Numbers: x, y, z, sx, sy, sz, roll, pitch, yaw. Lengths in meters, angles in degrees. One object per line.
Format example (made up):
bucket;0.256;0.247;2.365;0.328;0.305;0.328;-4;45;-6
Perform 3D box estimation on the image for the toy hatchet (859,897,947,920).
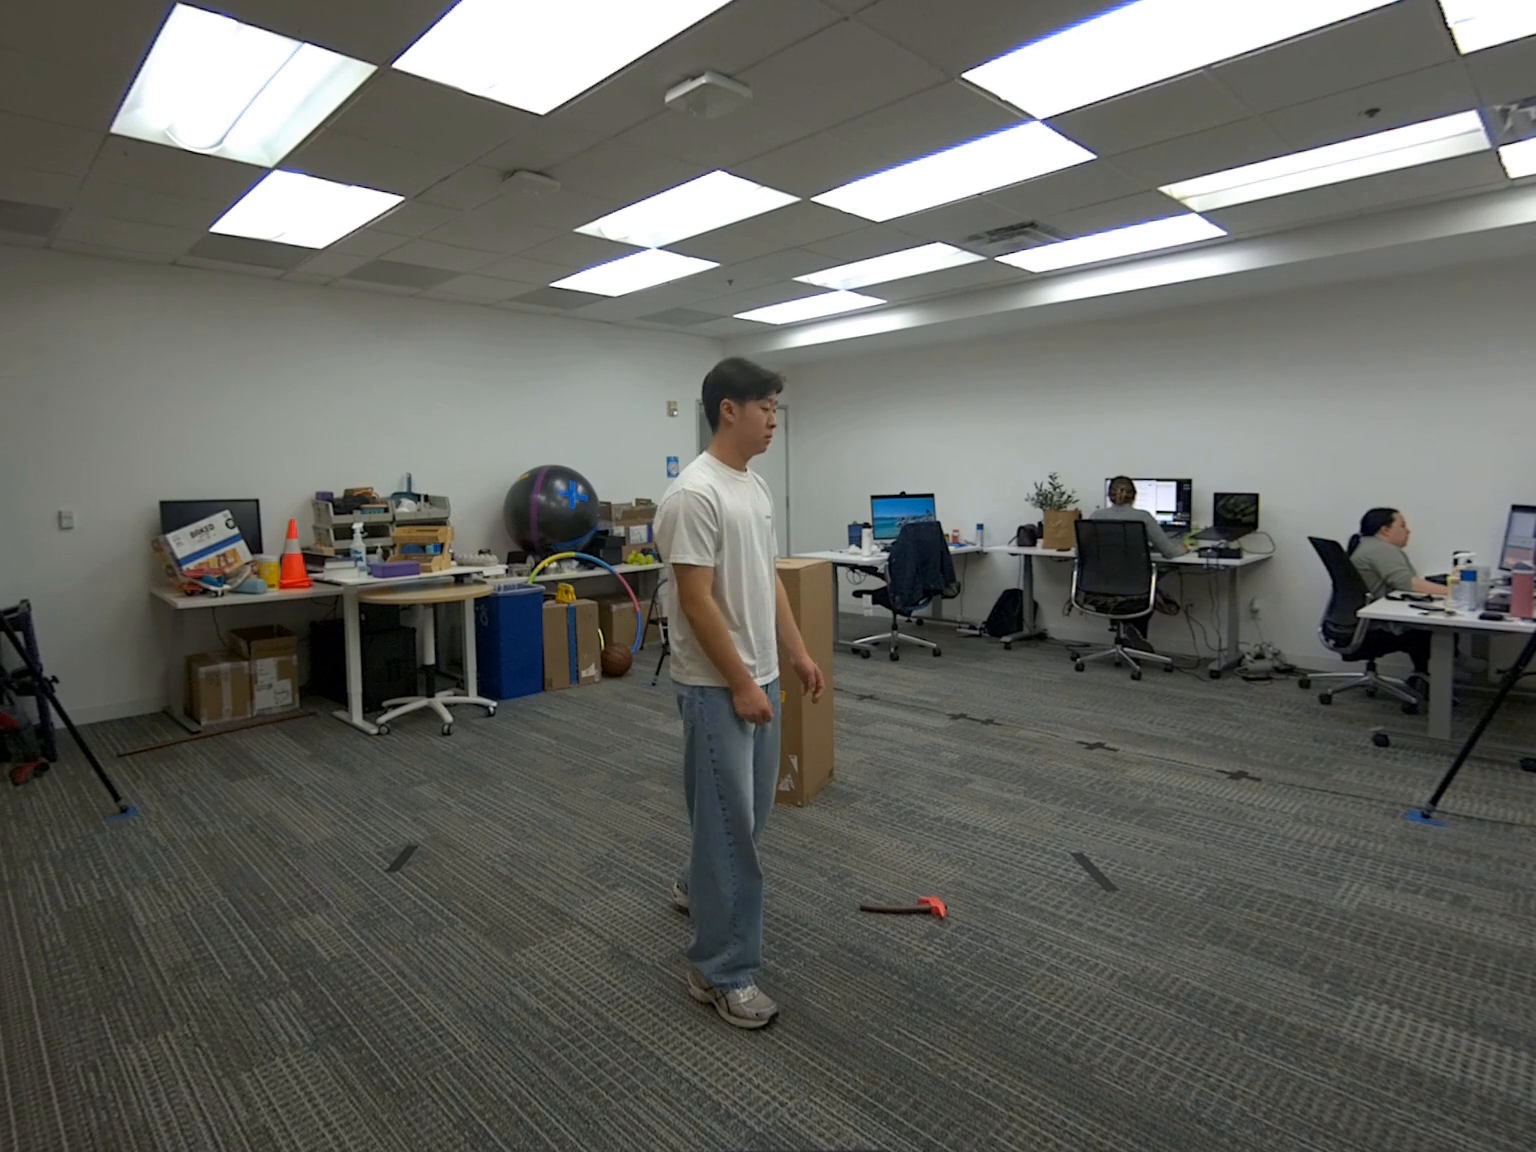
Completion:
toy hatchet;0.444;1.064;2.770;0.274;0.029;0.129;-1;5;17
